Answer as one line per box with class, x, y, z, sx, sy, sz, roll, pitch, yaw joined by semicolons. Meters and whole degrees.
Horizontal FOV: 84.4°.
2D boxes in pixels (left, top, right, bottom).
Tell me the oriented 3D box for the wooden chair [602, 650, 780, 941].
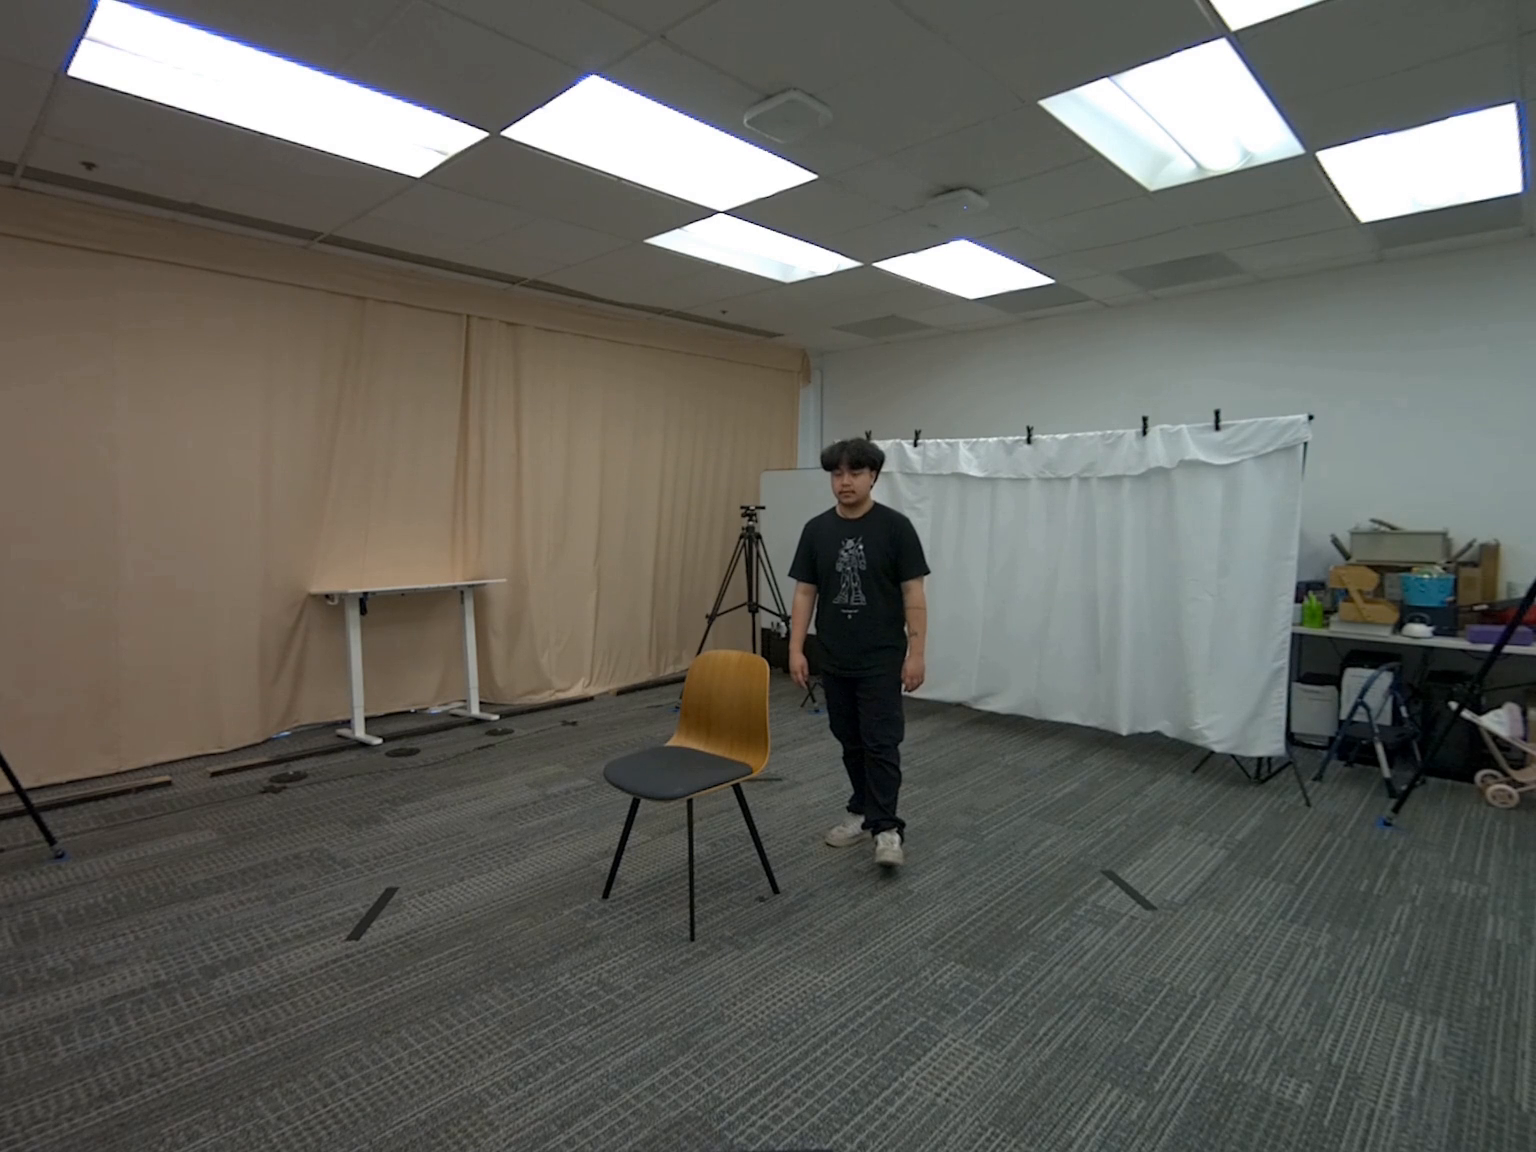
wooden chair;-0.275;0.720;2.970;0.494;0.877;0.506;3;0;40
